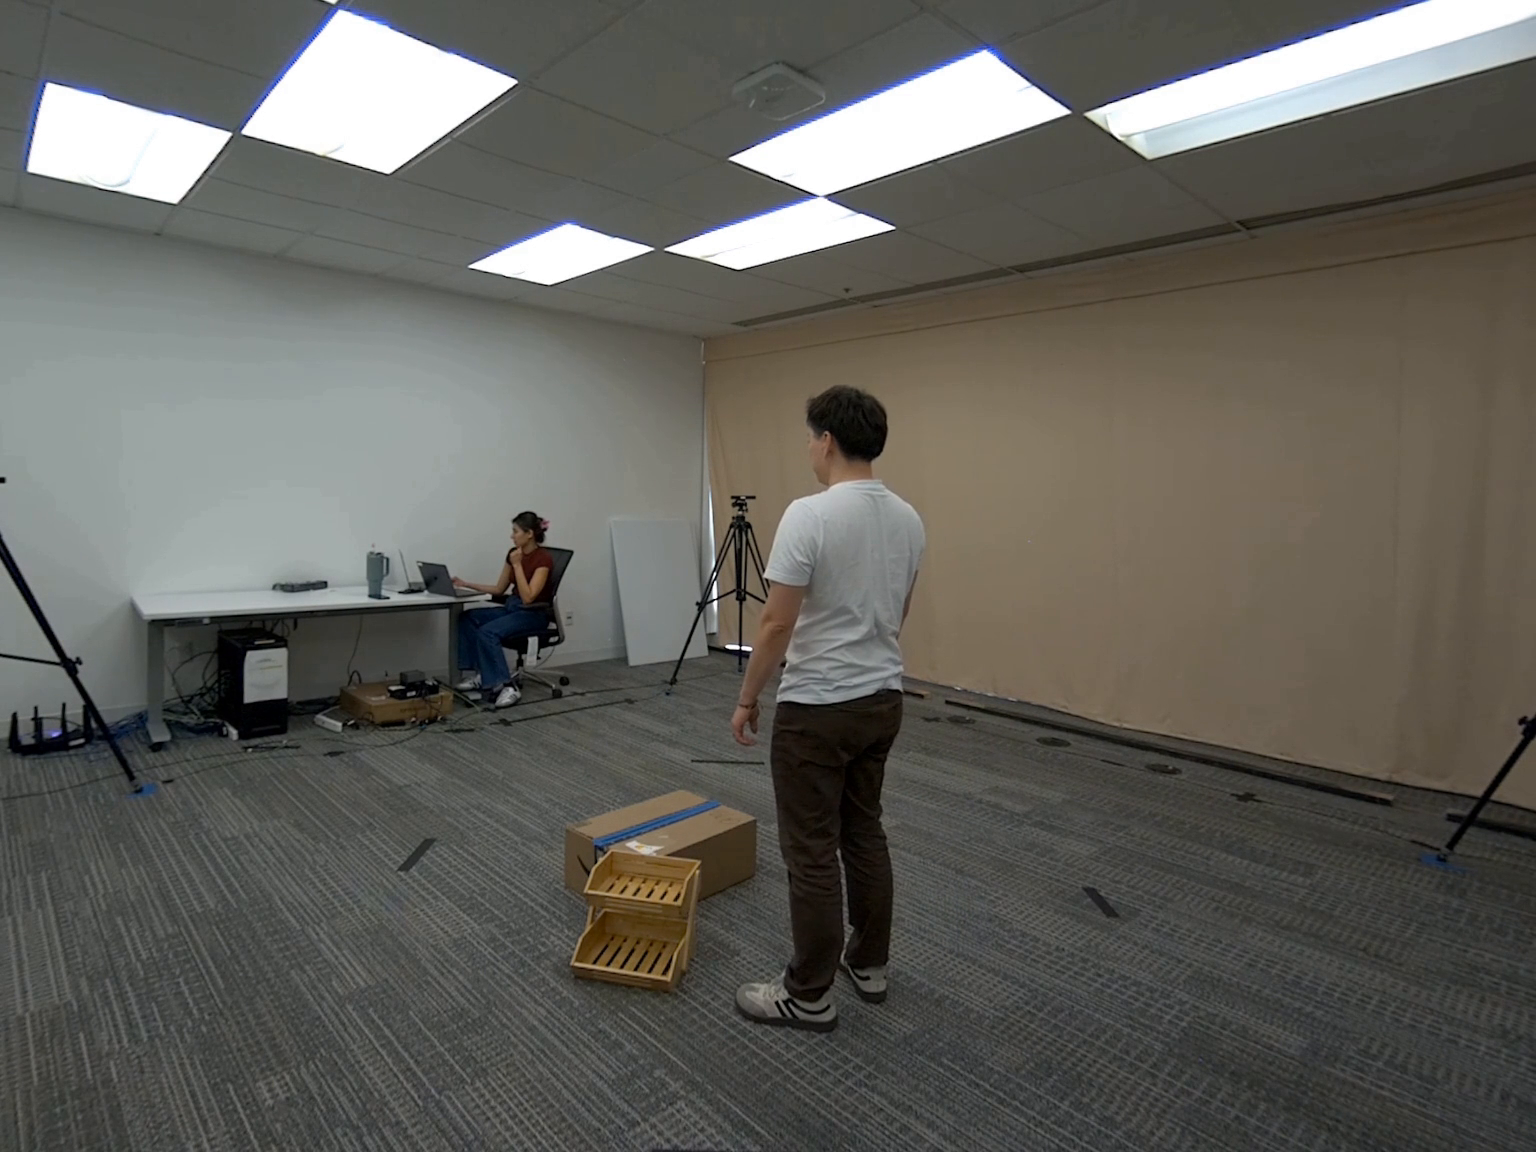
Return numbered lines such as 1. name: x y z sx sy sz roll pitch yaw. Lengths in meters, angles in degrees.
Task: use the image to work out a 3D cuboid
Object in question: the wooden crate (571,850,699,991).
1. wooden crate: -0.397 1.023 2.494 0.328 0.273 0.299 2 4 12
